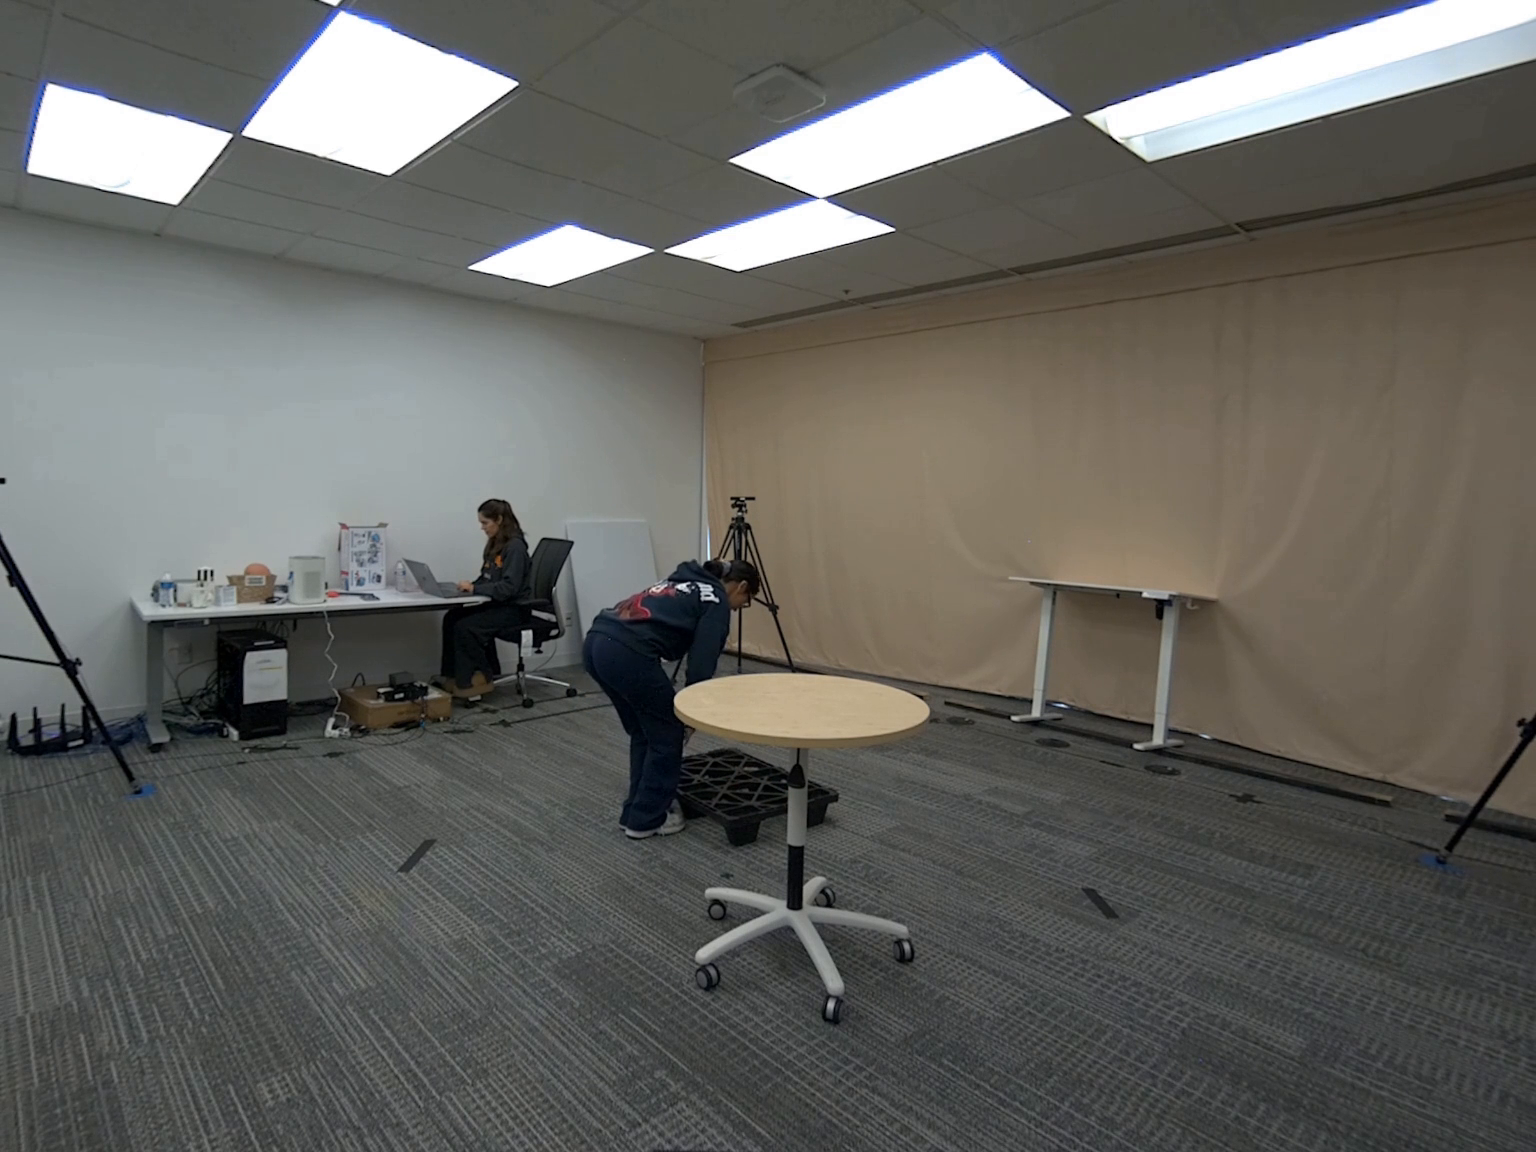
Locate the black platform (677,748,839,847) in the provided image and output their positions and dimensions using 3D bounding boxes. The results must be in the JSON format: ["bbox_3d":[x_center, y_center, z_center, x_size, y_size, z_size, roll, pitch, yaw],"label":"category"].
[{"bbox_3d":[-0.178,0.982,3.790,0.592,0.143,0.826,-3,6,-37],"label":"black platform"}]
